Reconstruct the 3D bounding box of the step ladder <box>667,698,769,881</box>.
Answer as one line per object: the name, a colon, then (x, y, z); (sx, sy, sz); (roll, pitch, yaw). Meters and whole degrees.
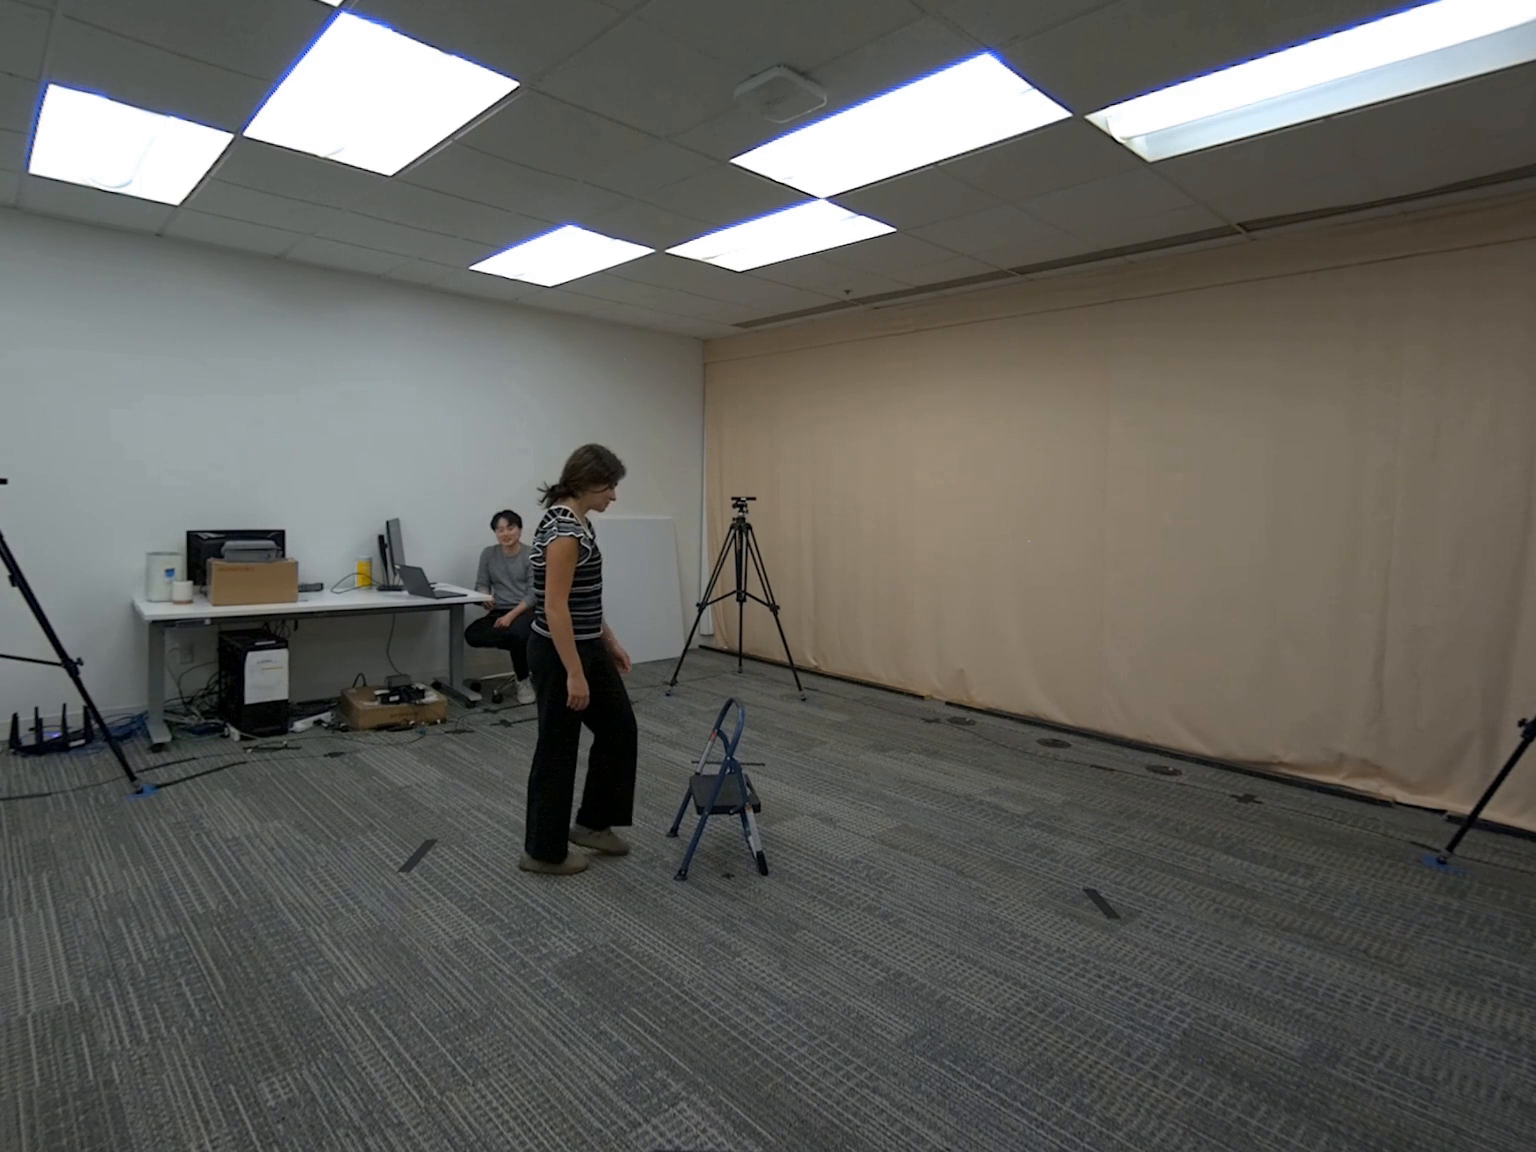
step ladder: (-0.205, 0.792, 3.276); (0.347, 0.604, 0.435); (0, 4, -10)
